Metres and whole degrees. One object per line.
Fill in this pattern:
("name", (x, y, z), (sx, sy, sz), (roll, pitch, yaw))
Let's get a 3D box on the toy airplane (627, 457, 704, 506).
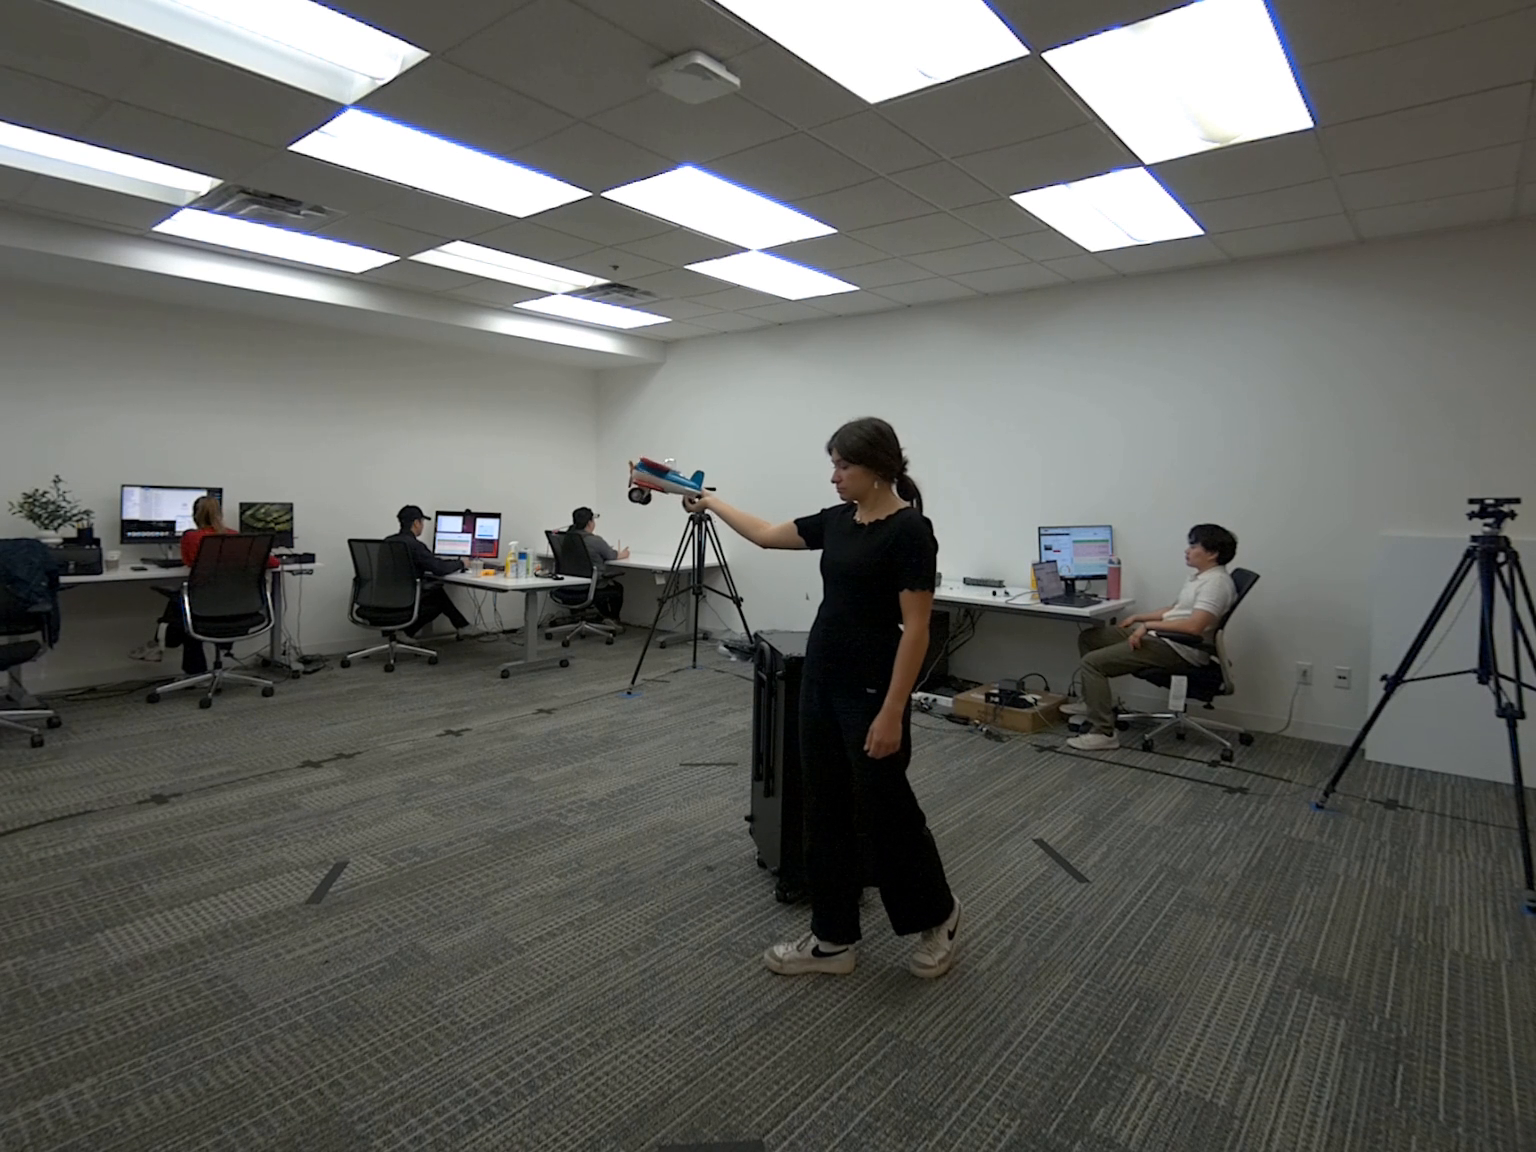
("toy airplane", (-0.349, -0.317, 2.908), (0.254, 0.156, 0.256), (5, 2, -18))
